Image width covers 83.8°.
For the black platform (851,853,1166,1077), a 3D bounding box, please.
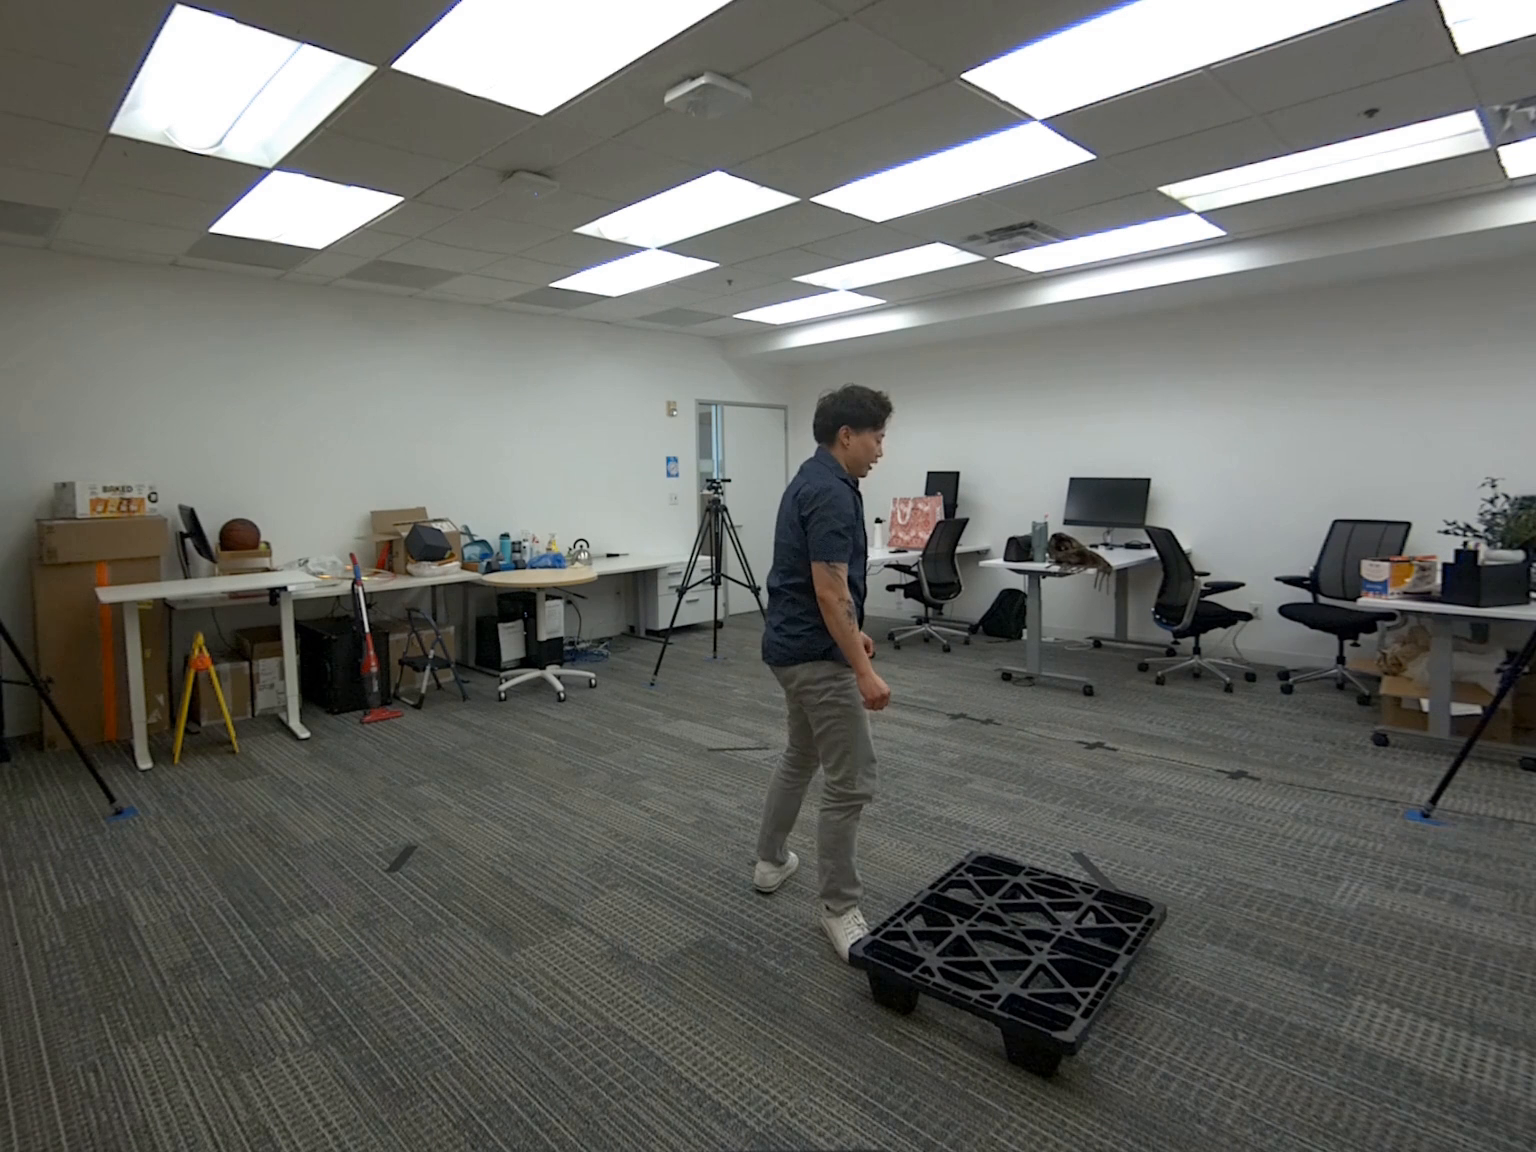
[{"bbox_3d":[0.704,1.049,2.387,0.624,0.142,0.785,5,9,39],"label":"black platform"}]
